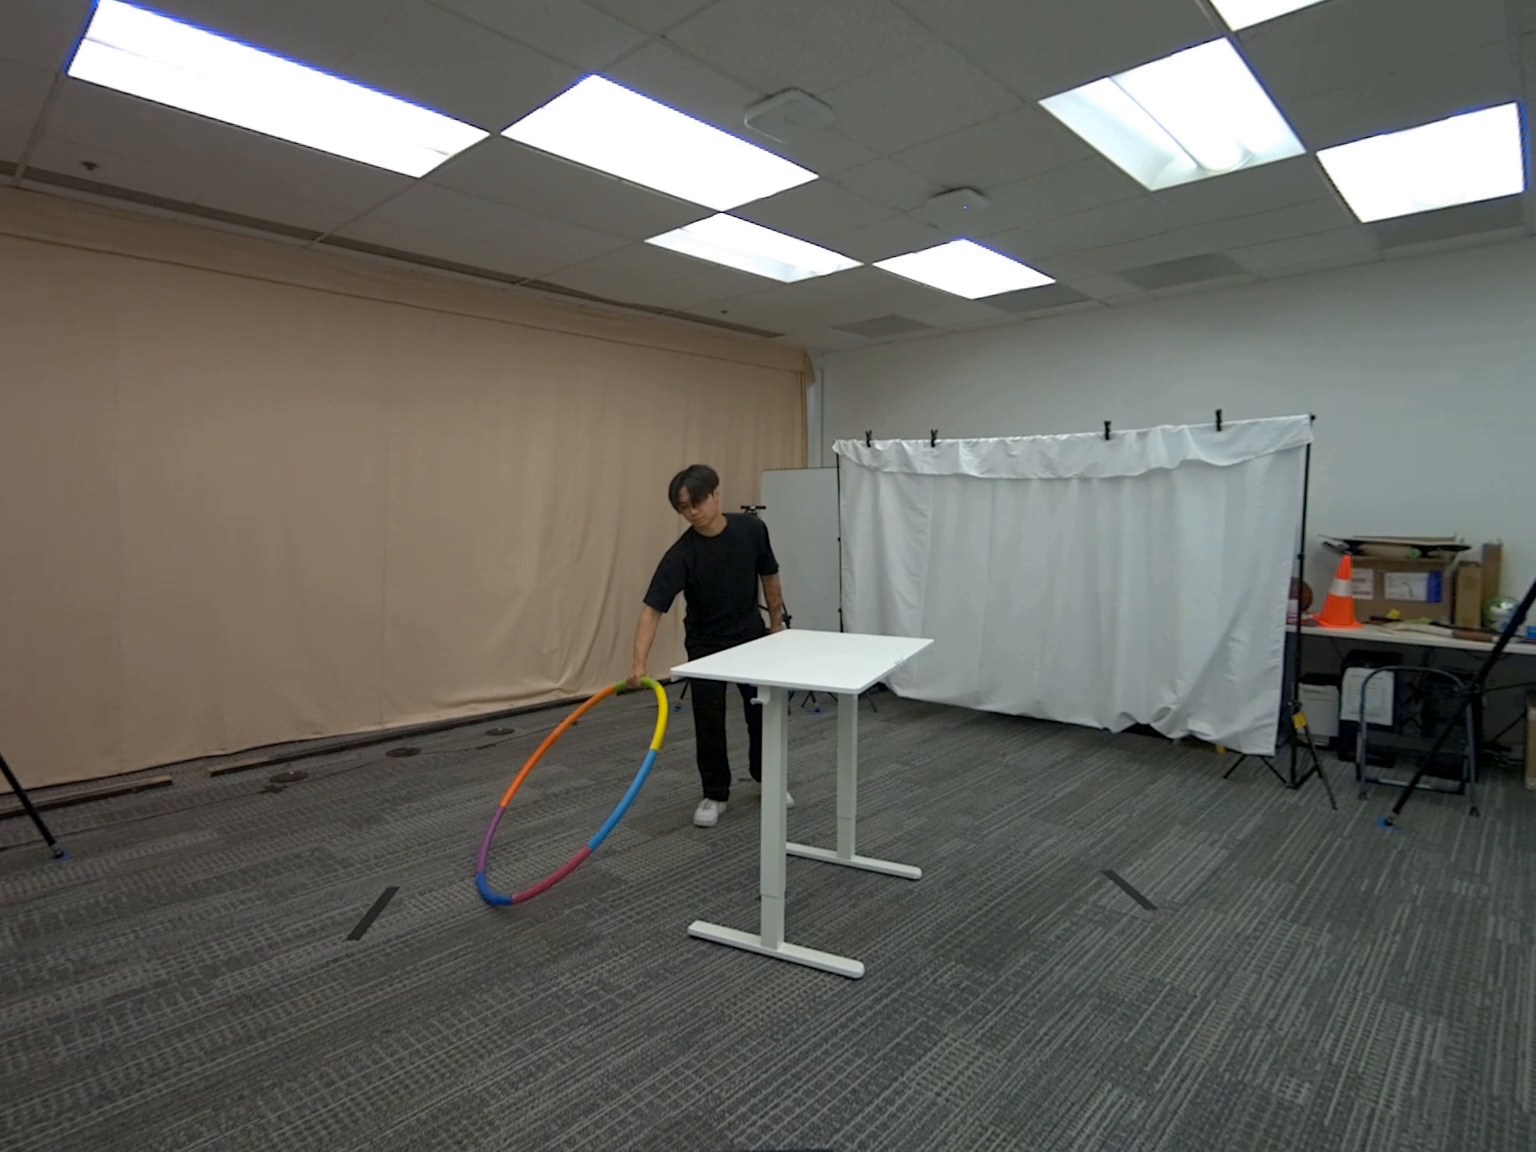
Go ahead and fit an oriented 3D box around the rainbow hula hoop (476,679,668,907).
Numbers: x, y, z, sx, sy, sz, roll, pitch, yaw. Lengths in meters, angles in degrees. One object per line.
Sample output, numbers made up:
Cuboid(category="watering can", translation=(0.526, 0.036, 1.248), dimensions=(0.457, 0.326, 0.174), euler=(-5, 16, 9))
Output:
Cuboid(category="rainbow hula hoop", translation=(-0.737, 0.777, 3.176), dimensions=(0.985, 0.035, 0.994), euler=(-37, 23, 15))
